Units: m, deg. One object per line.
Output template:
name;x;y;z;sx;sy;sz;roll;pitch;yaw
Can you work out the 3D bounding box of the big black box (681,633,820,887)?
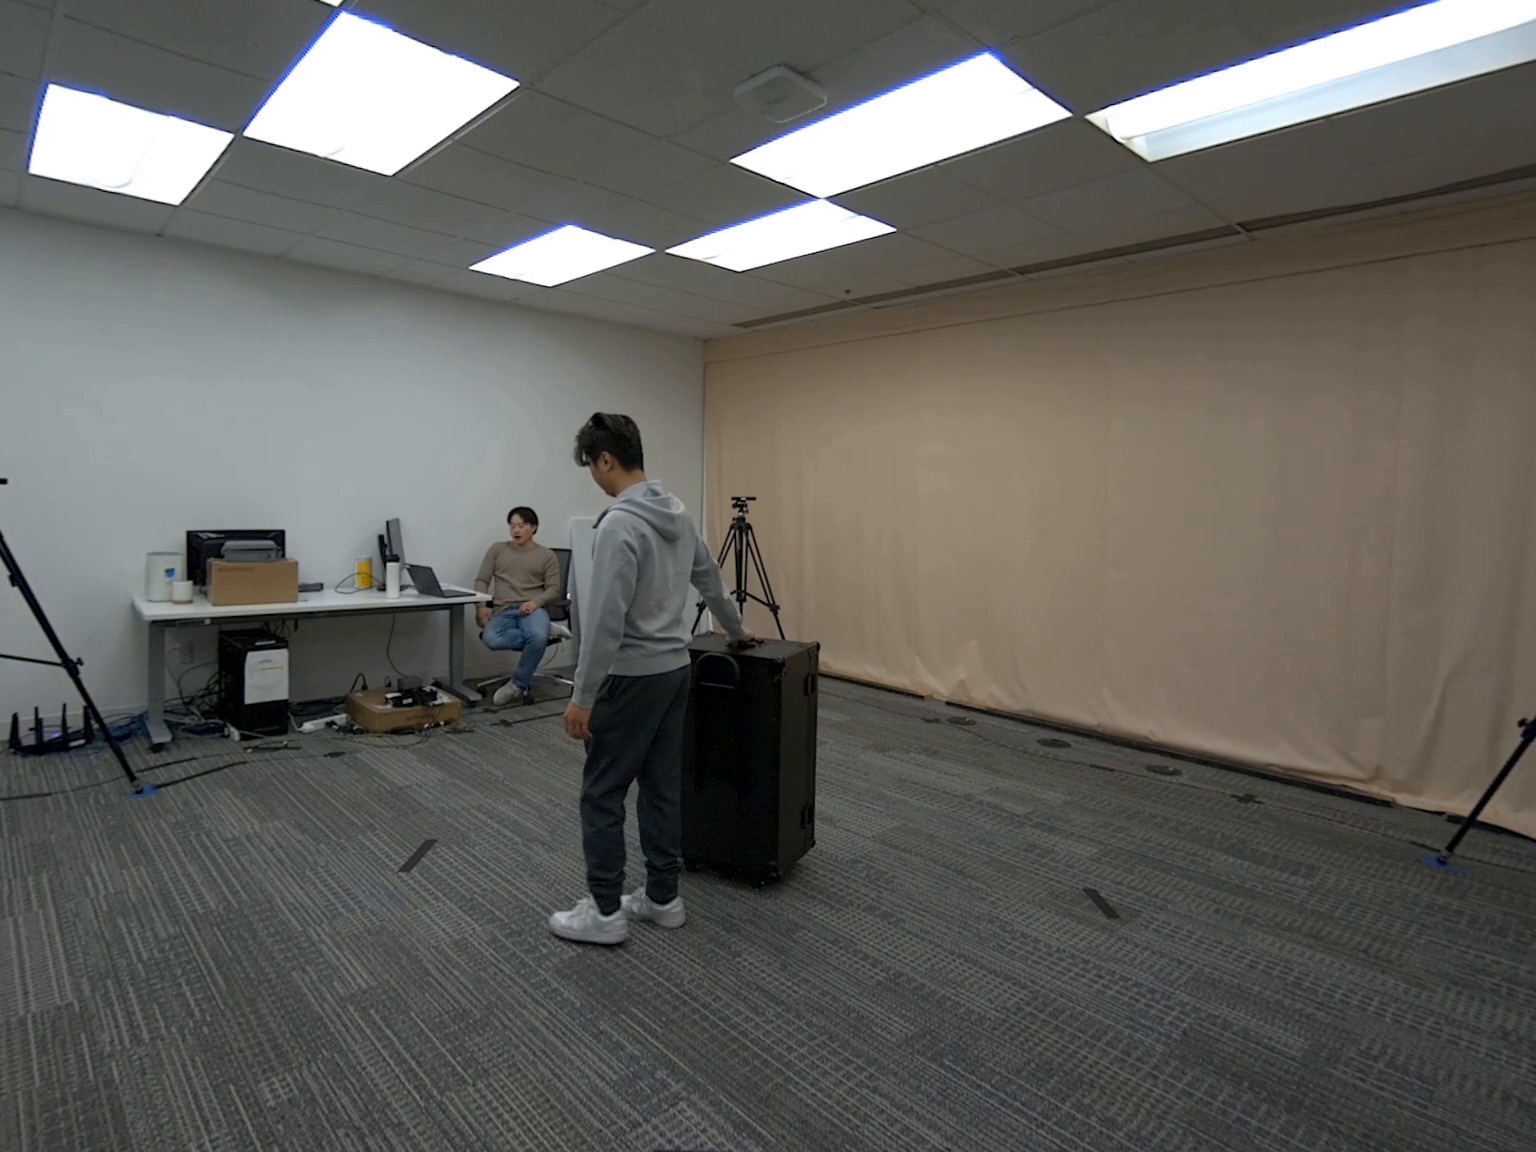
big black box;-0.106;0.682;3.137;0.532;0.858;0.390;3;5;26
